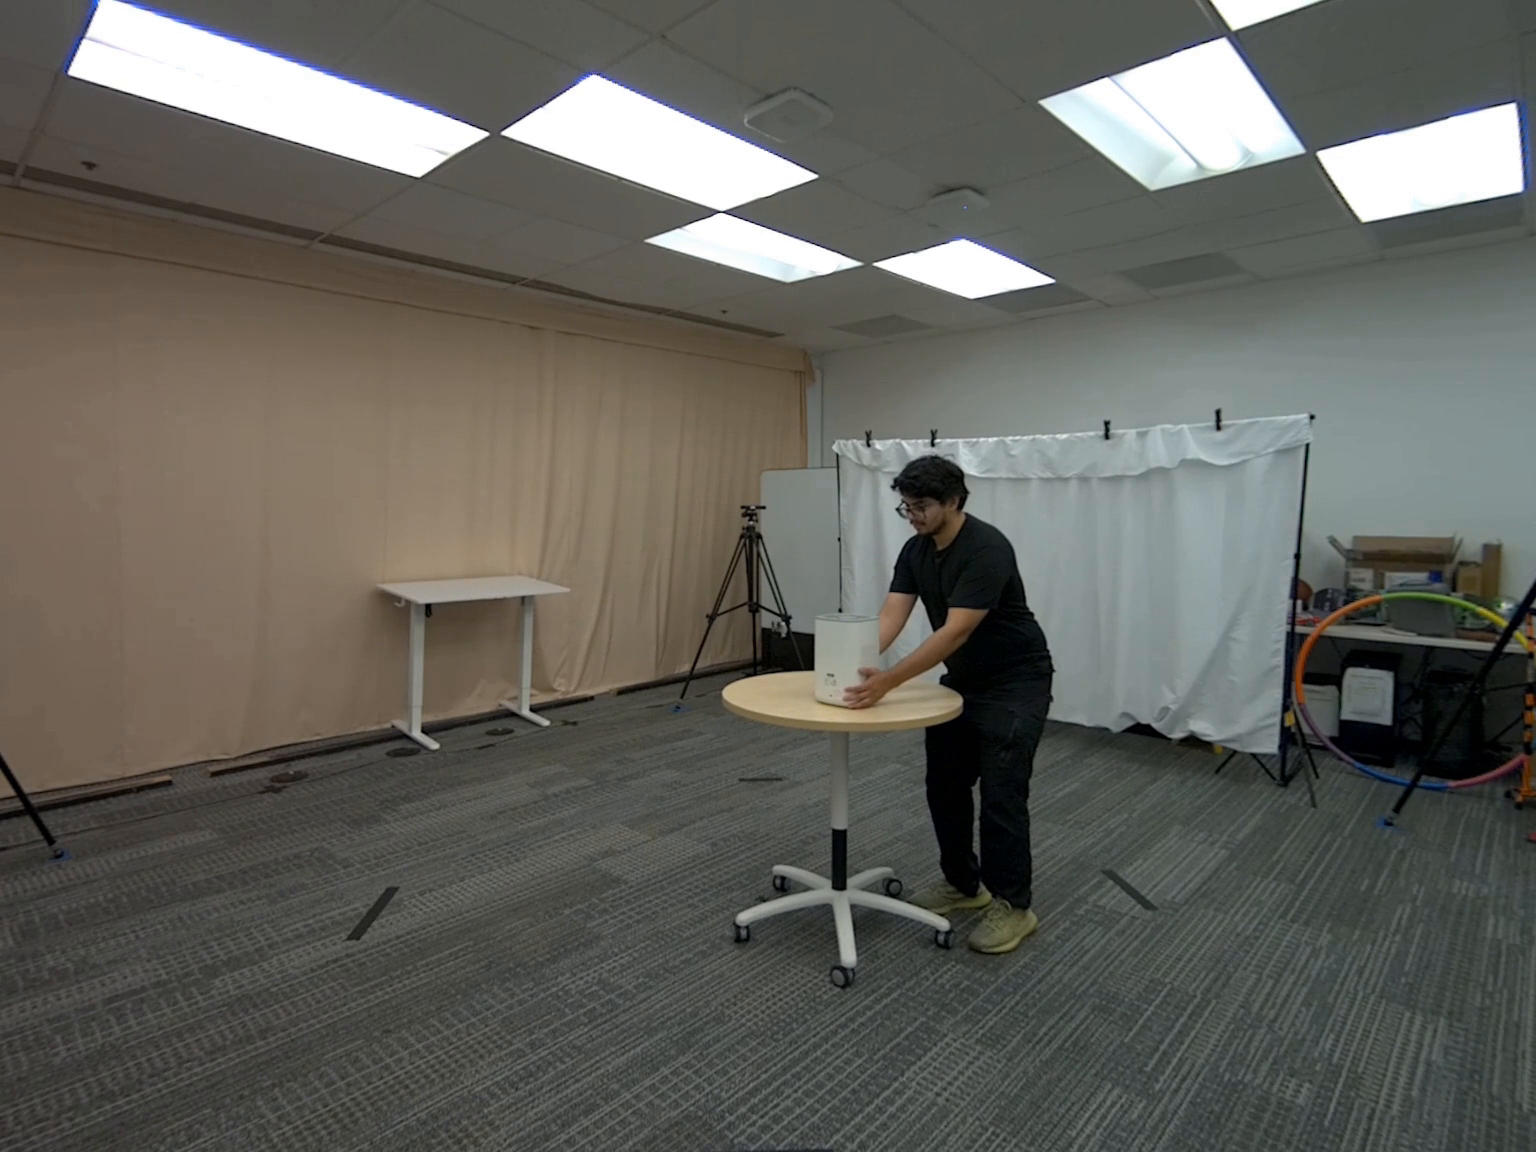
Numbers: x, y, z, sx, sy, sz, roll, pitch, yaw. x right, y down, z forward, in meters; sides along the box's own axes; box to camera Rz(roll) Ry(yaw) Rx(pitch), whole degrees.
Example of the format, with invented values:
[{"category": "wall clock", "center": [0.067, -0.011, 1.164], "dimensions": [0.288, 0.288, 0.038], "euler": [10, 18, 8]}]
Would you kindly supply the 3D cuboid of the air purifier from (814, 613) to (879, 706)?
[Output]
[{"category": "air purifier", "center": [0.252, 0.259, 2.596], "dimensions": [0.176, 0.264, 0.166], "euler": [3, 6, 38]}]
